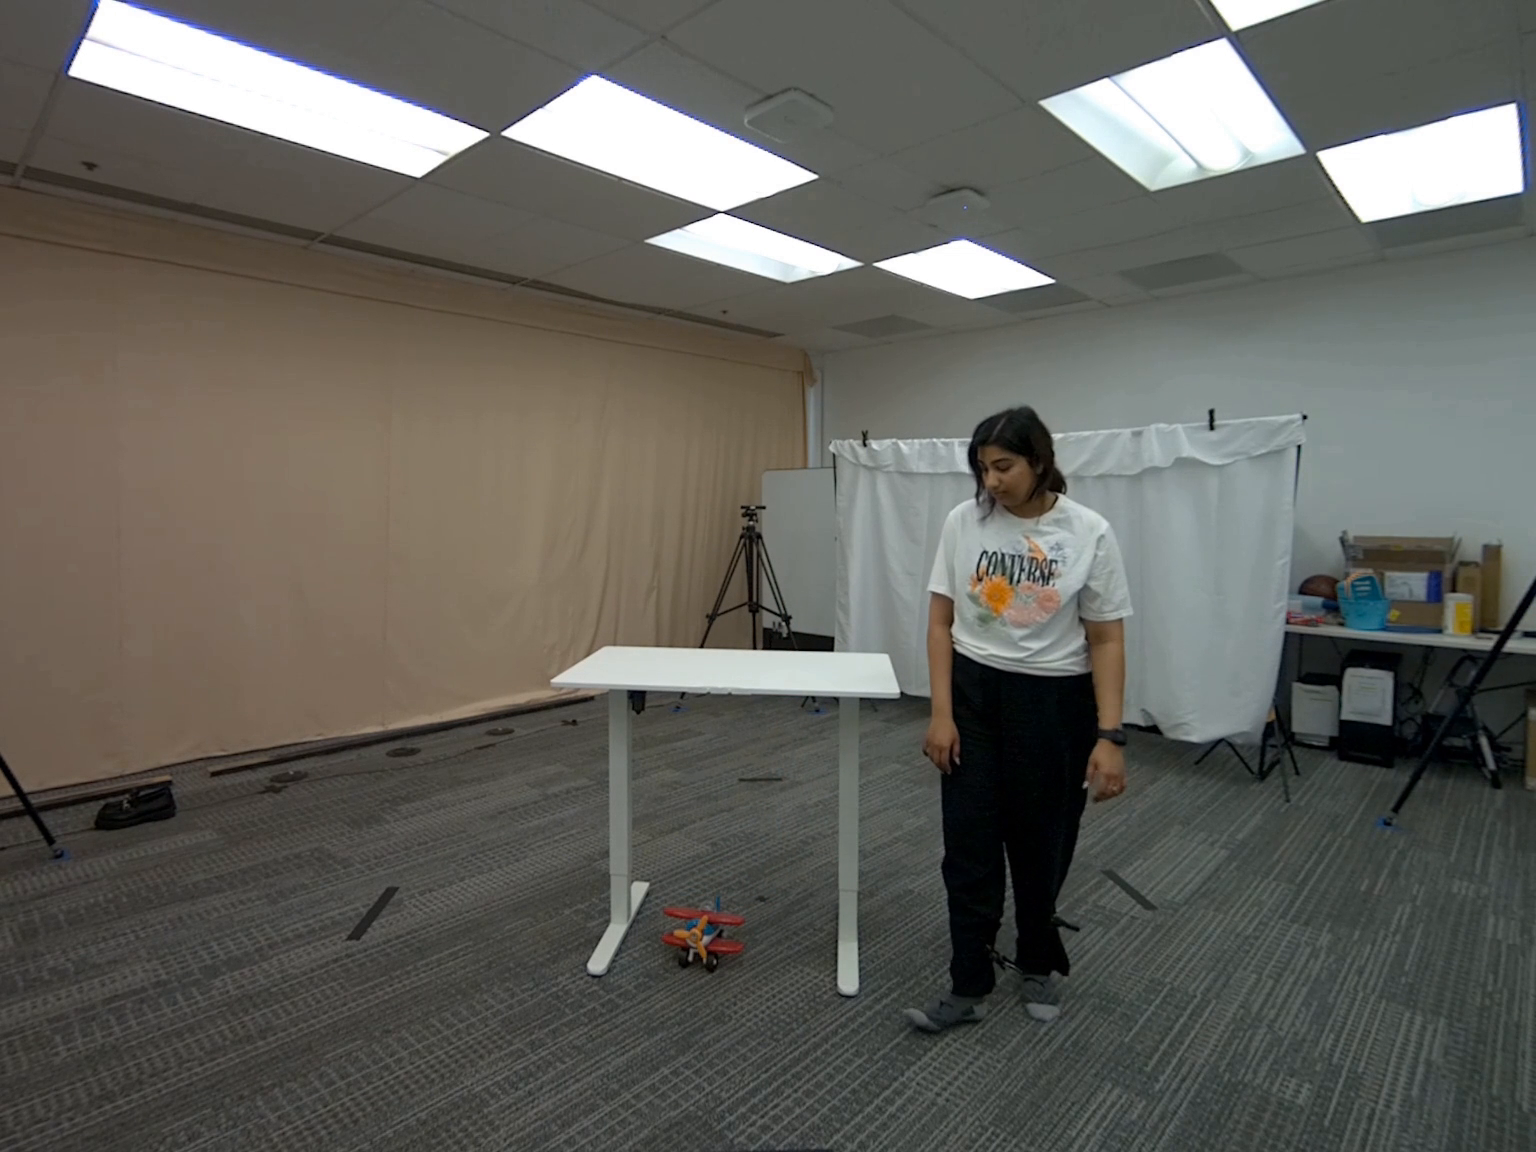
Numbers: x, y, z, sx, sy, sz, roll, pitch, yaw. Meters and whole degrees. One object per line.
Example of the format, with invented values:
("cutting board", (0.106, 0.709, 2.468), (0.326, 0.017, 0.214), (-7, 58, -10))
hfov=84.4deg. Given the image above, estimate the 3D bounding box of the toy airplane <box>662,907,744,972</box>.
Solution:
("toy airplane", (-0.205, 1.103, 2.612), (0.248, 0.156, 0.263), (-1, 5, -13))
